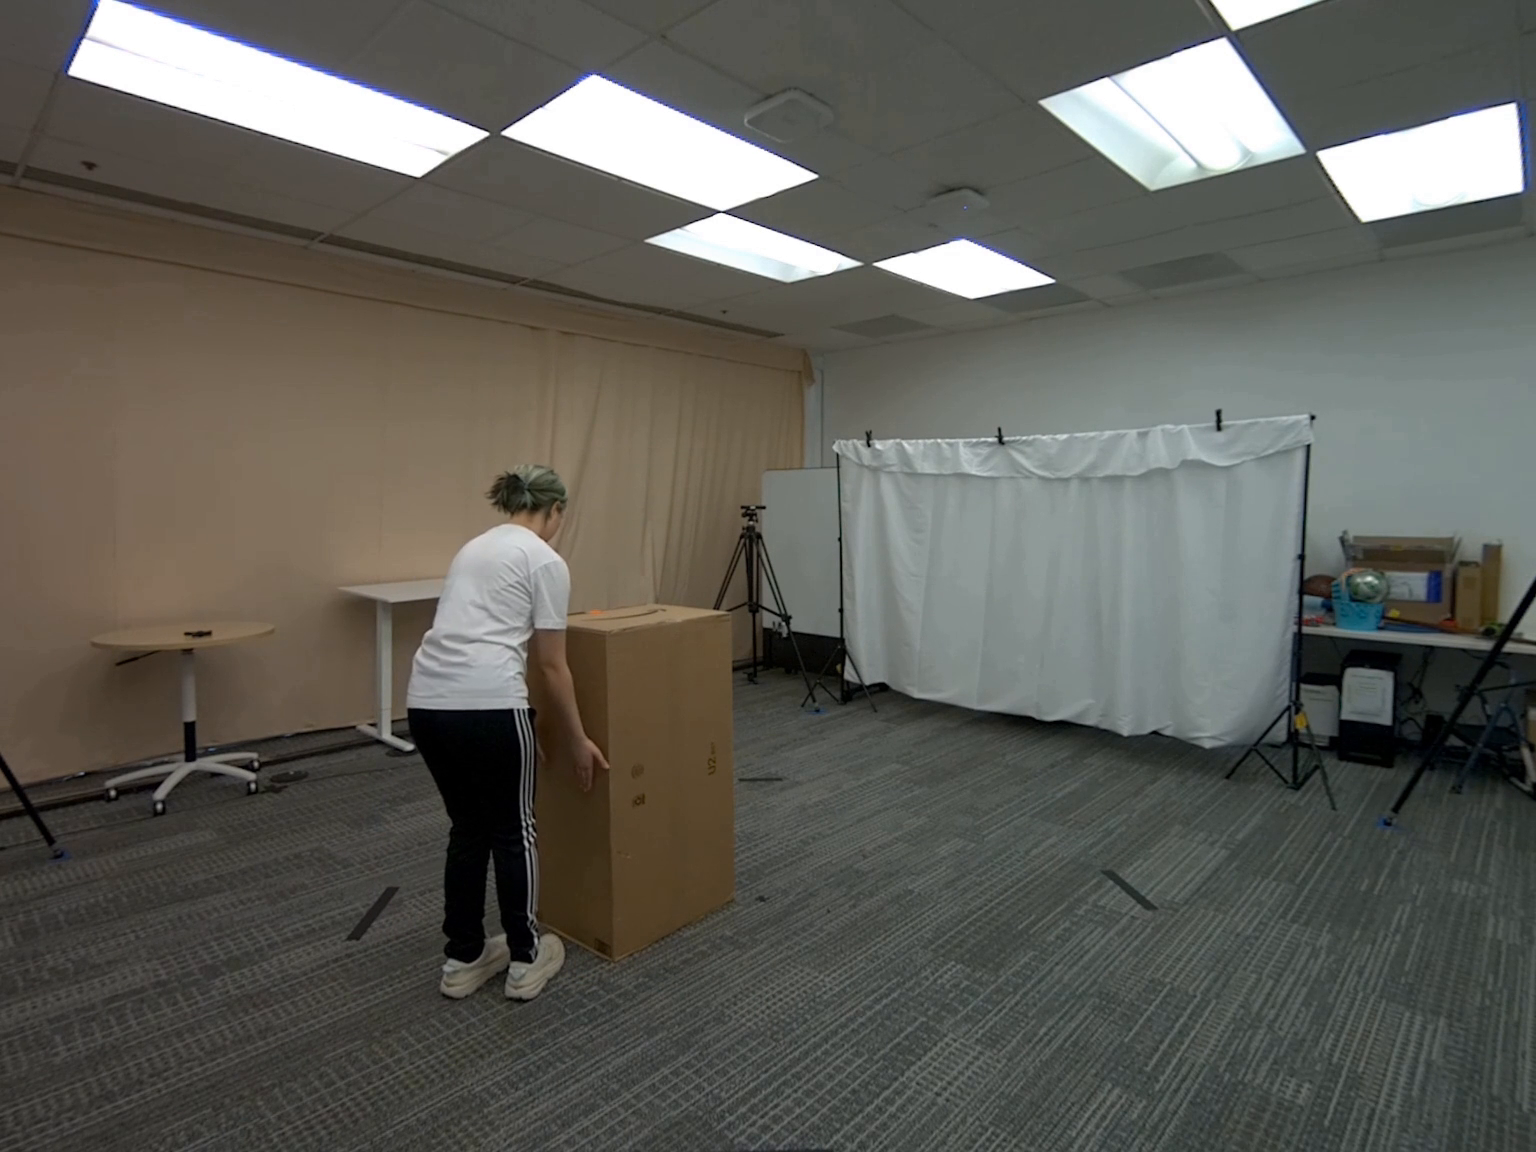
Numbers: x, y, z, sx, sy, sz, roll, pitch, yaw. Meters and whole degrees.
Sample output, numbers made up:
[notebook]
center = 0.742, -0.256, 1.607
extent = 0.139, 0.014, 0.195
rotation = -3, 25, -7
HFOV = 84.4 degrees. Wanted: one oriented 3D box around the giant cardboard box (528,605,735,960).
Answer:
[giant cardboard box]
center = -0.461, 0.648, 2.888
extent = 0.461, 1.024, 0.566
rotation = 3, 5, 39
